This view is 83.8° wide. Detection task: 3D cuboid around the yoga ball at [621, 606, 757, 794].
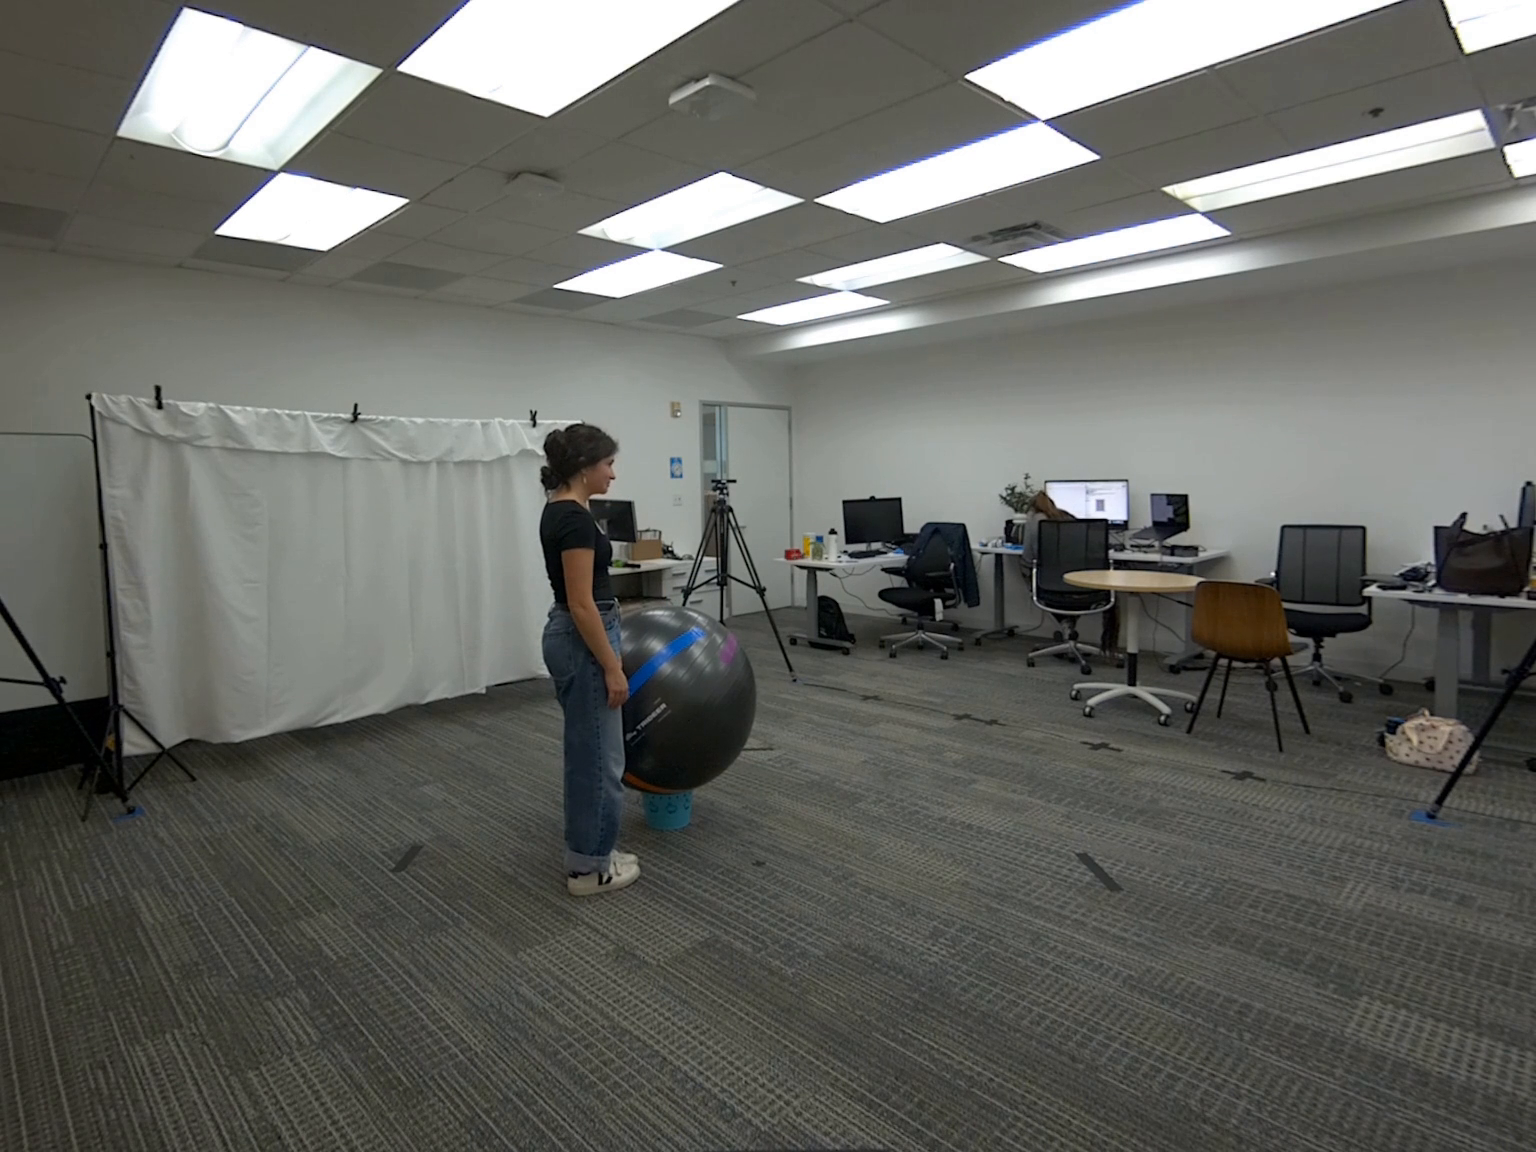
[{"bbox_3d":[-0.436,0.511,3.502,0.757,0.755,0.762,-1,5,-2],"label":"yoga ball"}]
